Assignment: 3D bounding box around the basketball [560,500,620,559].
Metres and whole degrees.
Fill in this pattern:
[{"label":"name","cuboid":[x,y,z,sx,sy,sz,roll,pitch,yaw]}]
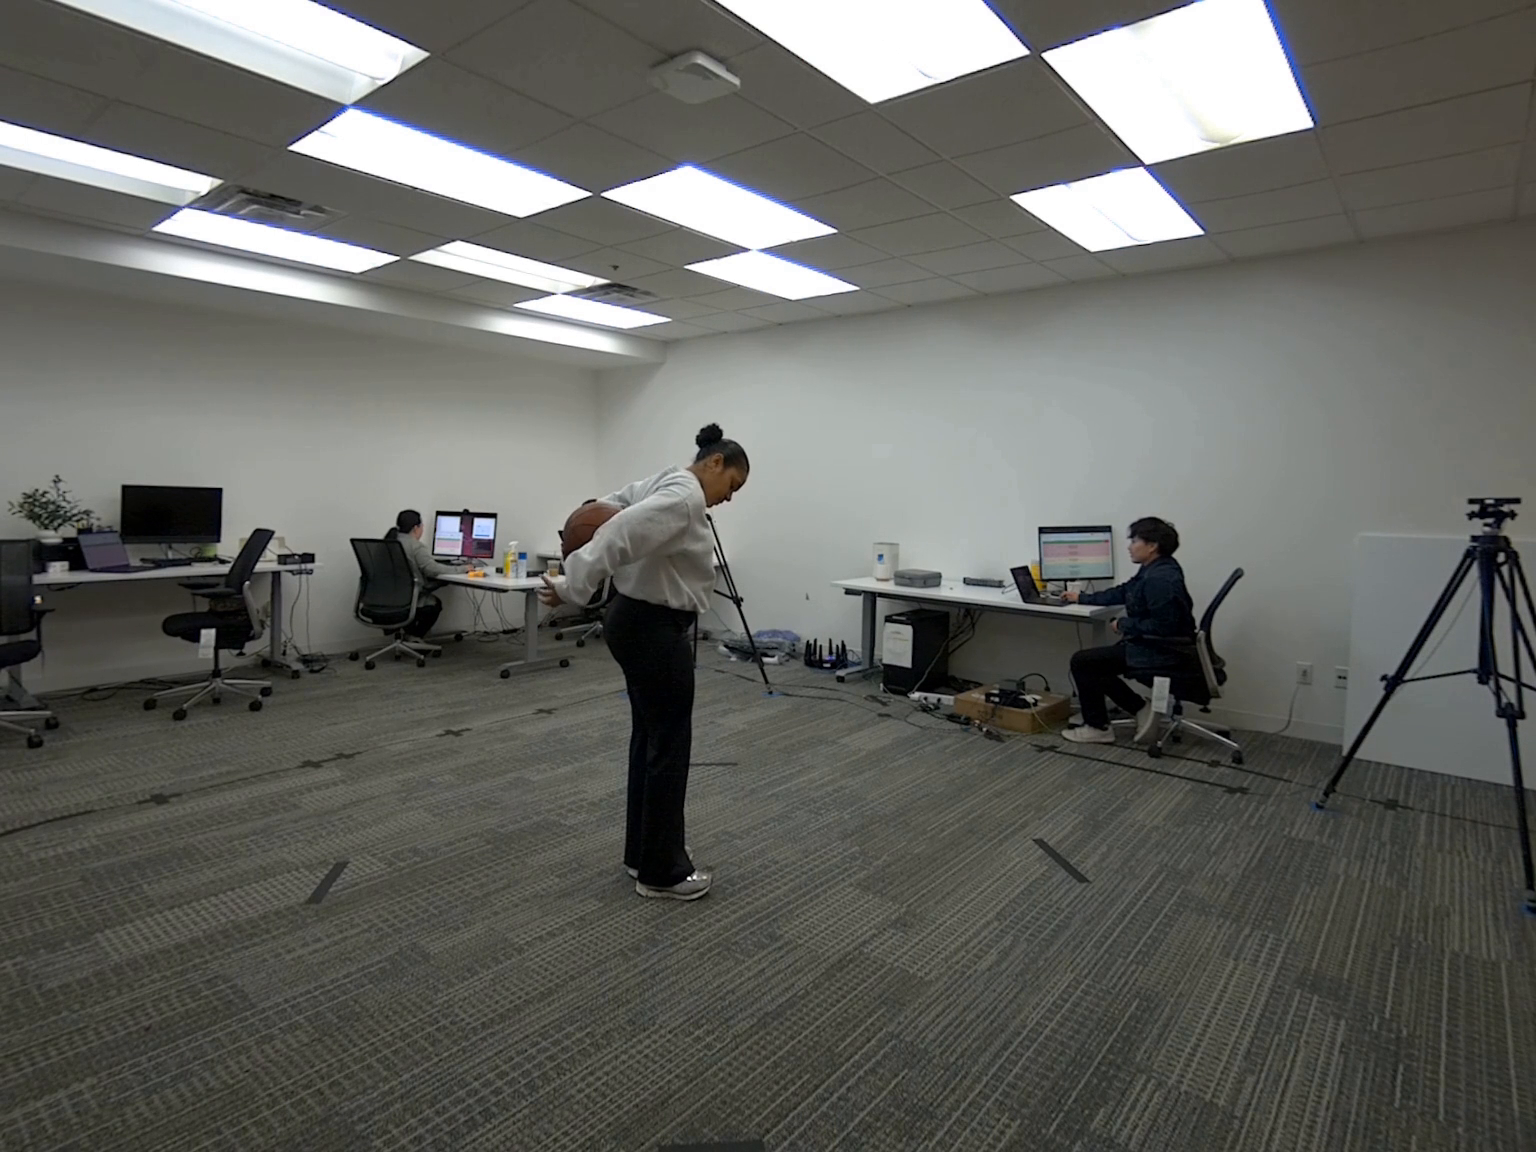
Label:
[{"label":"basketball","cuboid":[-0.602,-0.138,2.953,0.235,0.235,0.237,1,4,-2]}]
